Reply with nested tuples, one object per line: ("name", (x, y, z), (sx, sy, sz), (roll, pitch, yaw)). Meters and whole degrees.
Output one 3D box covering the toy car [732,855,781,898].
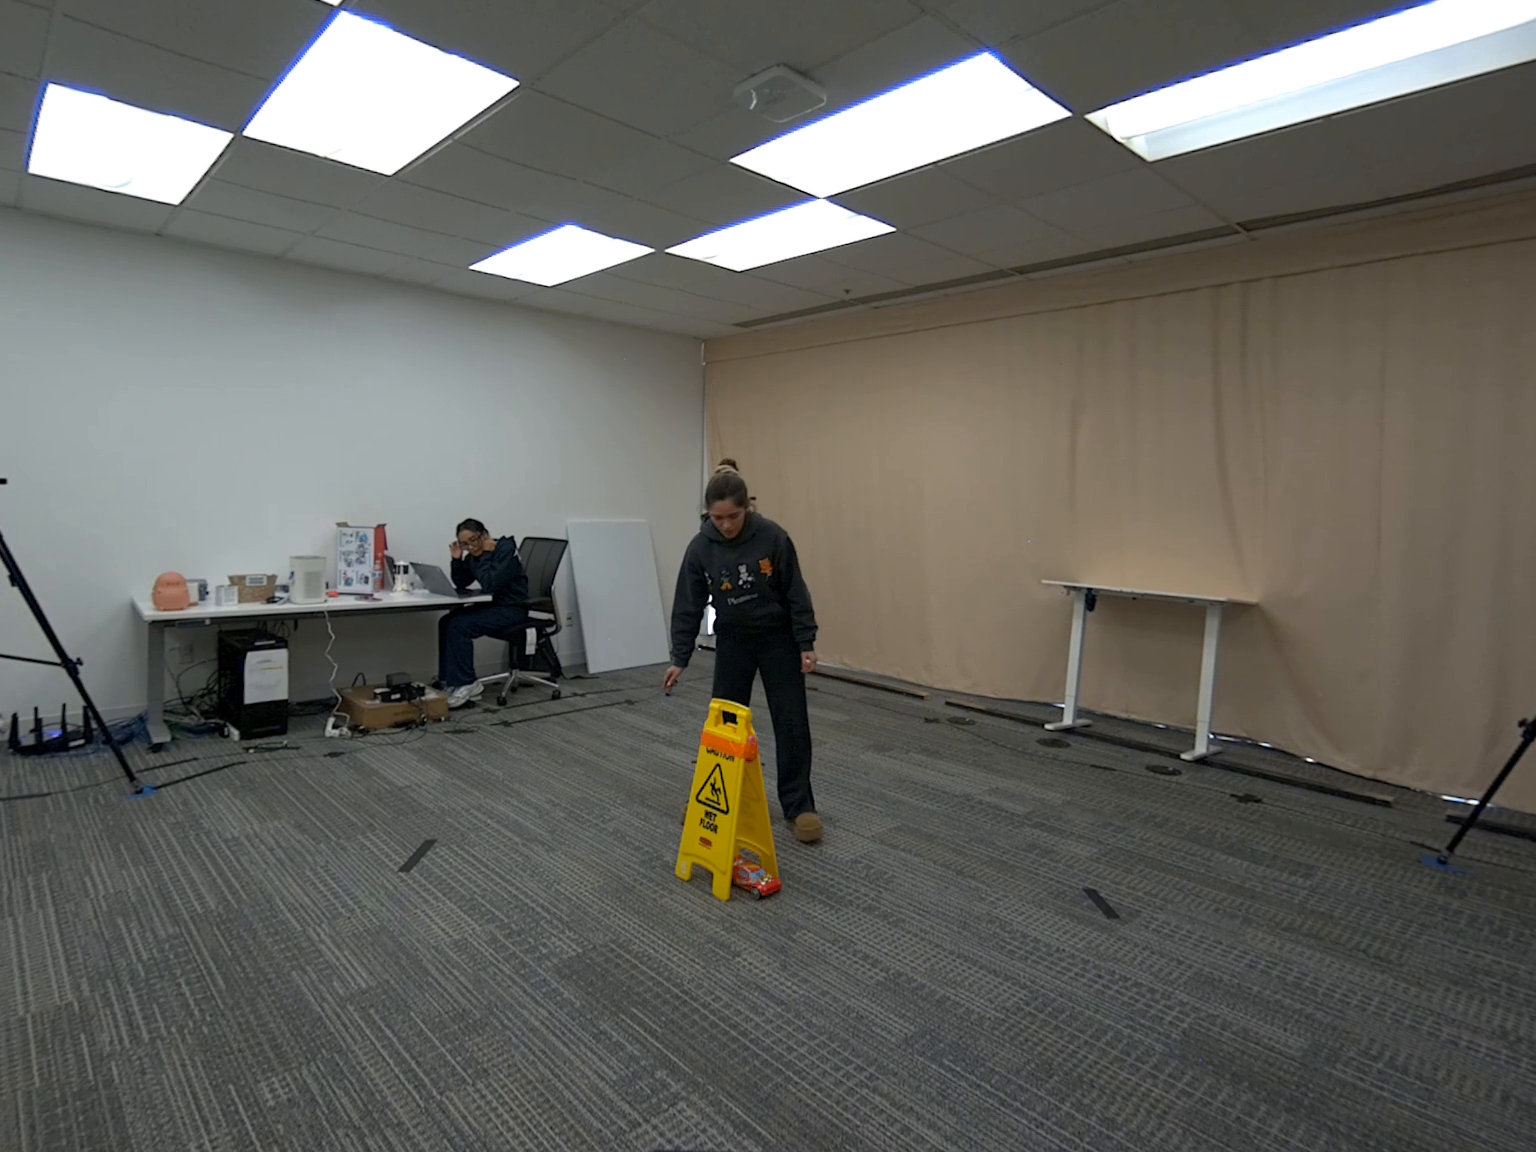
("toy car", (-0.090, 1.087, 3.025), (0.127, 0.082, 0.262), (-3, 16, -43))
